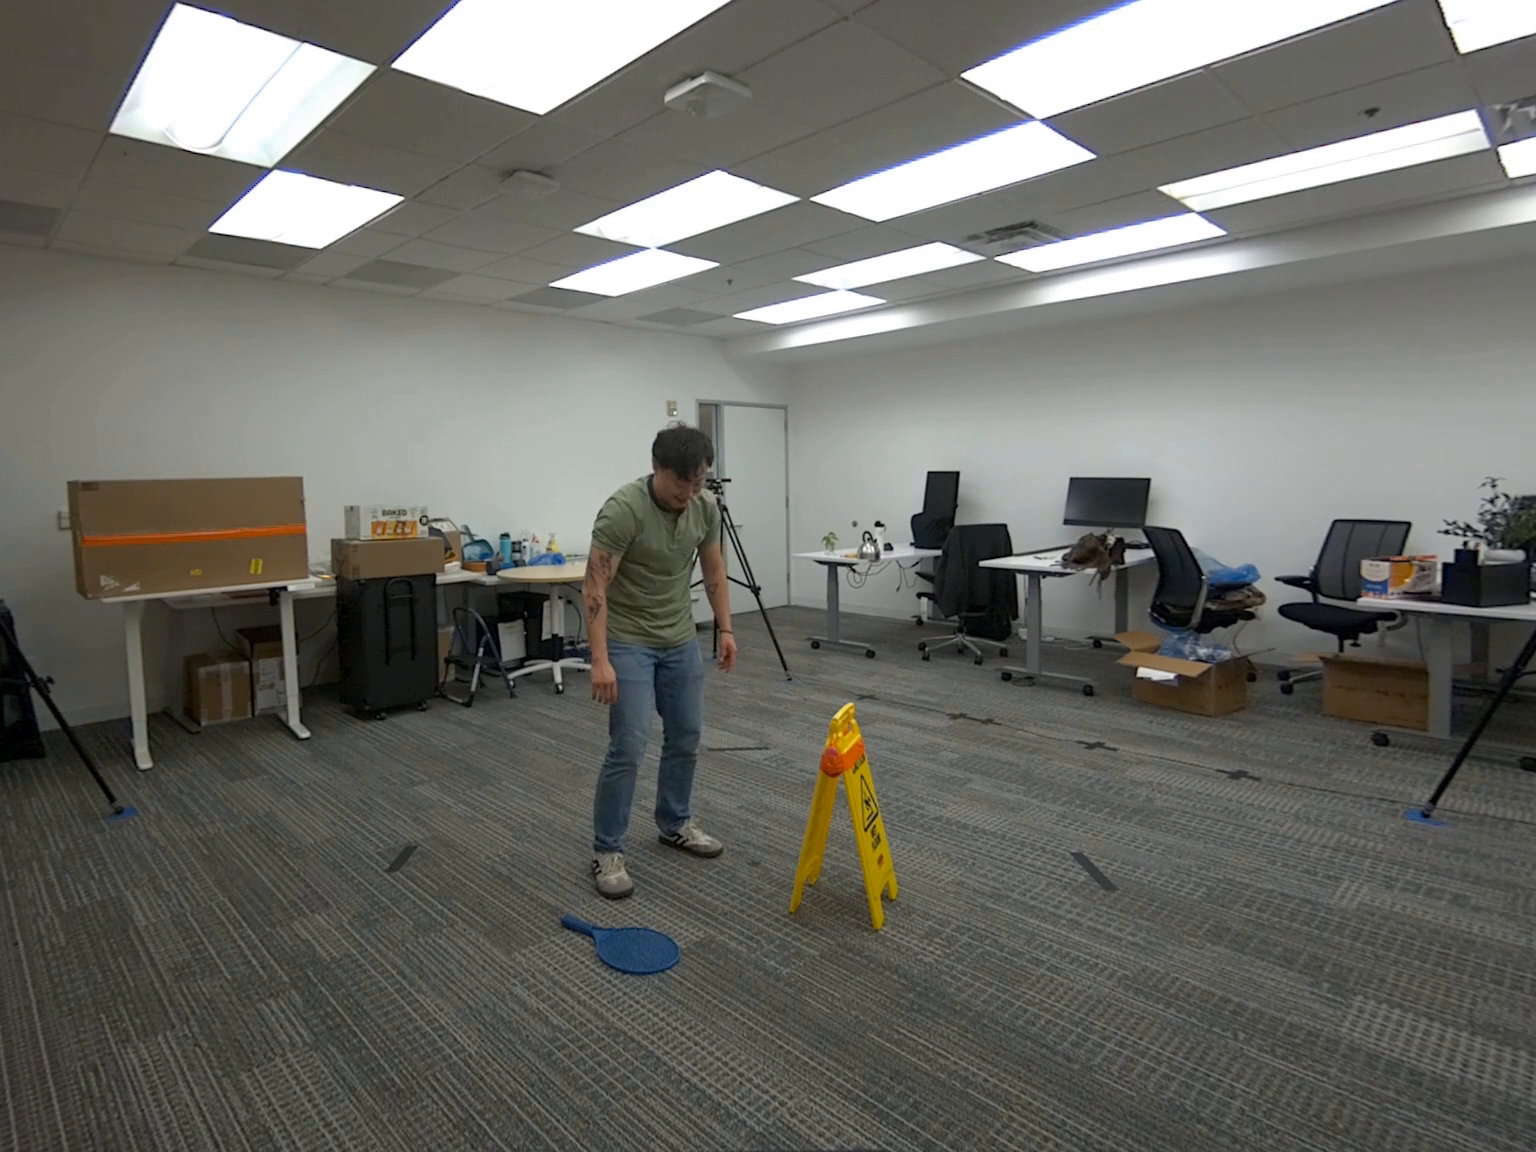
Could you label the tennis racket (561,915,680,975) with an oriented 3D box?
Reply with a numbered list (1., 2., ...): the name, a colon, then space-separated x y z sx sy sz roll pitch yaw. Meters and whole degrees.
1. tennis racket: -0.456 1.102 2.582 0.445 0.031 0.209 5 9 33
